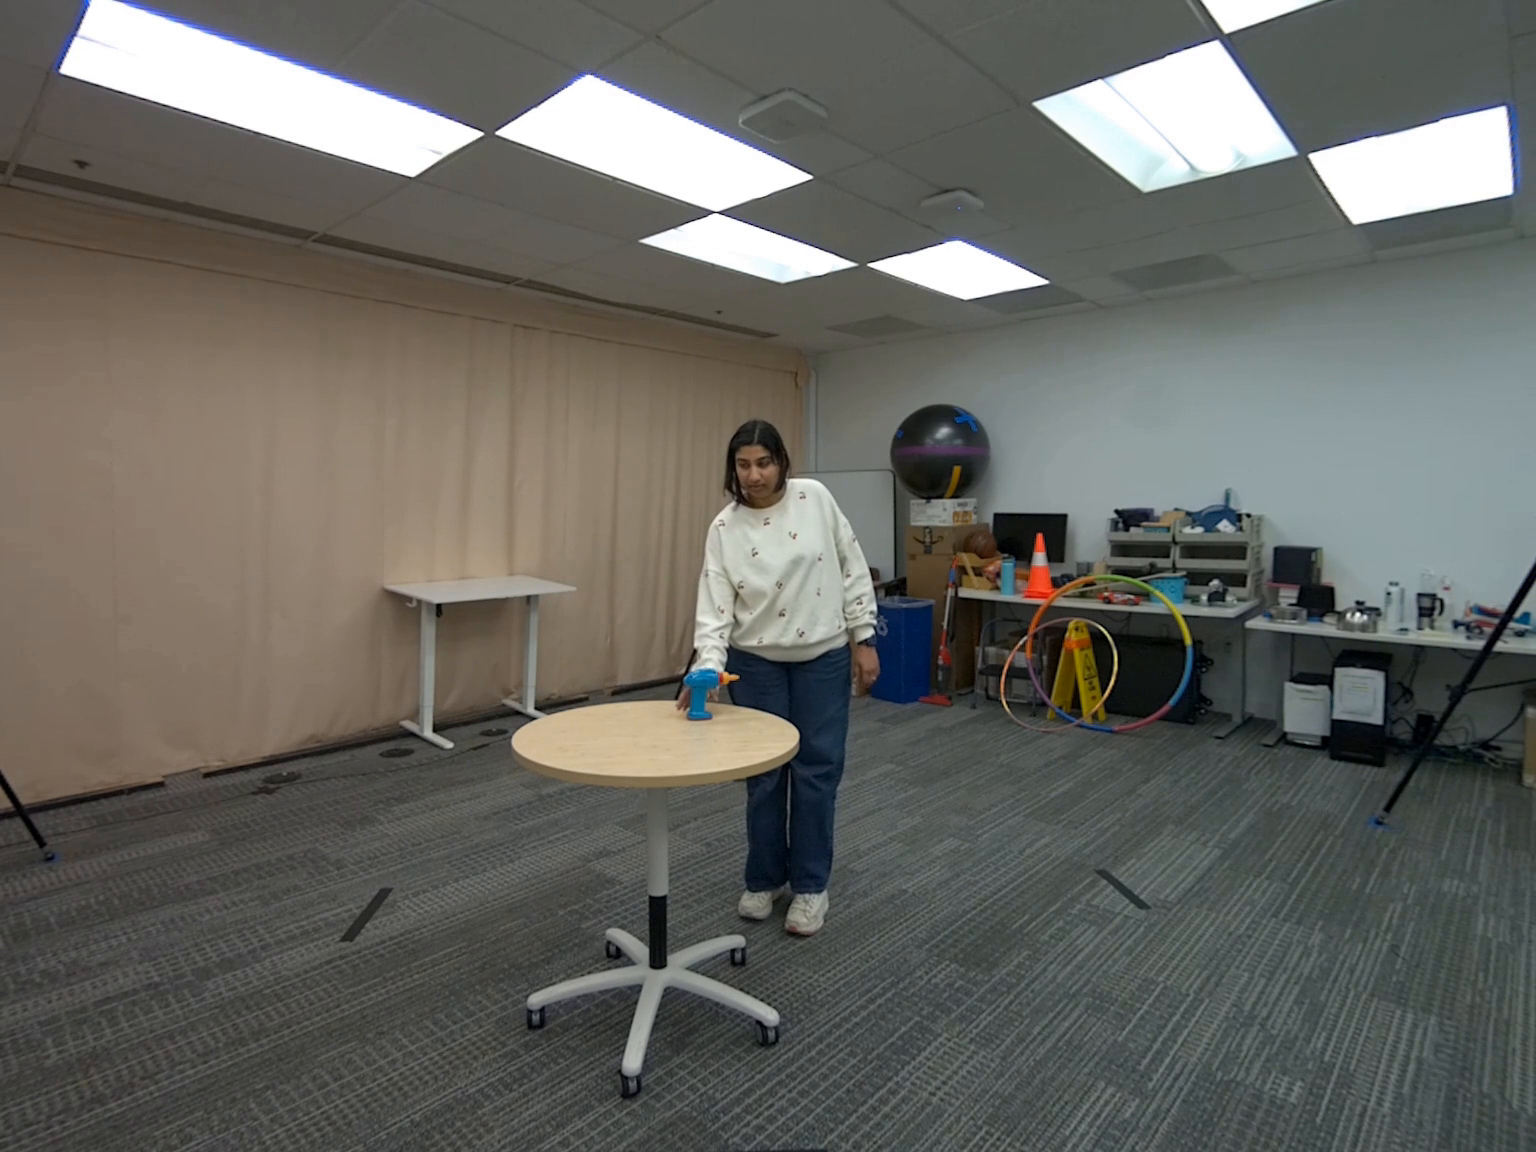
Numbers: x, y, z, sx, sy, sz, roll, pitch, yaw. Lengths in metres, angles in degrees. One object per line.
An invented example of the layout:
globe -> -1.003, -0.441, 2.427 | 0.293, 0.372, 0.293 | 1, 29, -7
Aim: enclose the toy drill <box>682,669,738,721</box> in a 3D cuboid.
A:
toy drill -> -0.160, 0.335, 2.432 | 0.166, 0.146, 0.062 | -1, 1, -23
